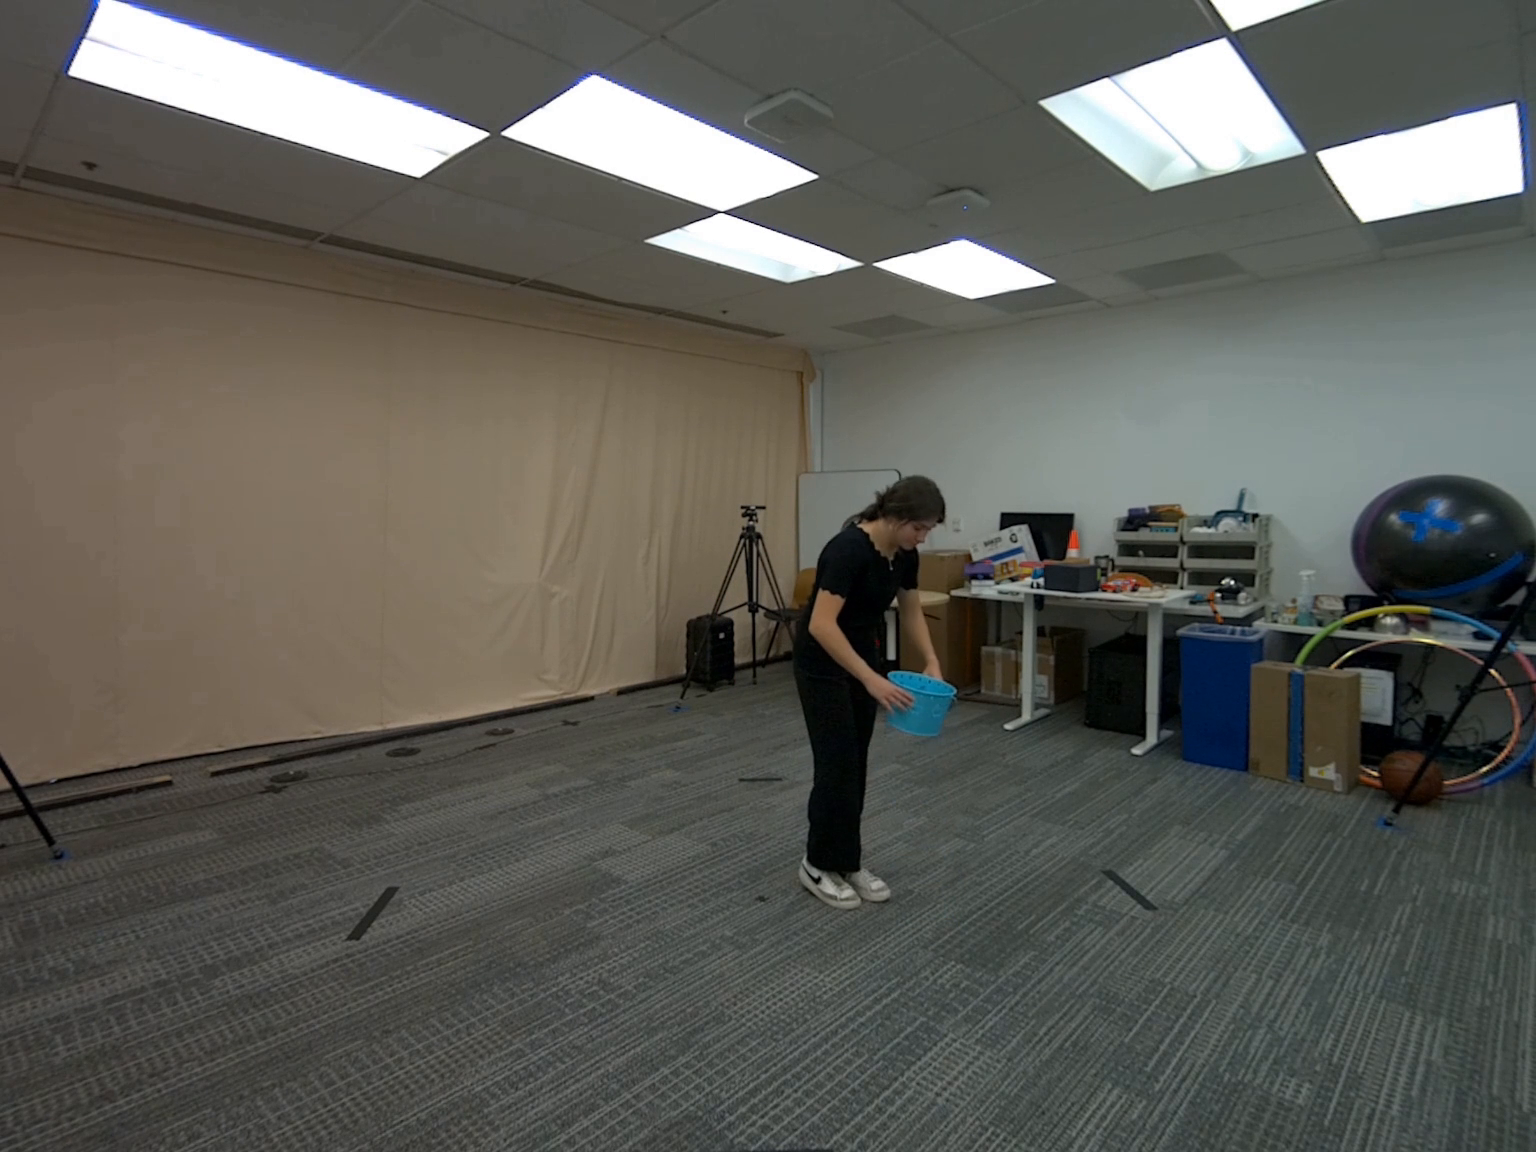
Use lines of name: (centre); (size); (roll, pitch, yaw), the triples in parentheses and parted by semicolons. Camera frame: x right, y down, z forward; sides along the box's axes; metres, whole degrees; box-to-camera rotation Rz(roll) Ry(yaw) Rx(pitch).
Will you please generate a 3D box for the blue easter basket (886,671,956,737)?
blue easter basket: (0.514, 0.435, 2.836); (0.243, 0.155, 0.245); (8, 8, -3)
